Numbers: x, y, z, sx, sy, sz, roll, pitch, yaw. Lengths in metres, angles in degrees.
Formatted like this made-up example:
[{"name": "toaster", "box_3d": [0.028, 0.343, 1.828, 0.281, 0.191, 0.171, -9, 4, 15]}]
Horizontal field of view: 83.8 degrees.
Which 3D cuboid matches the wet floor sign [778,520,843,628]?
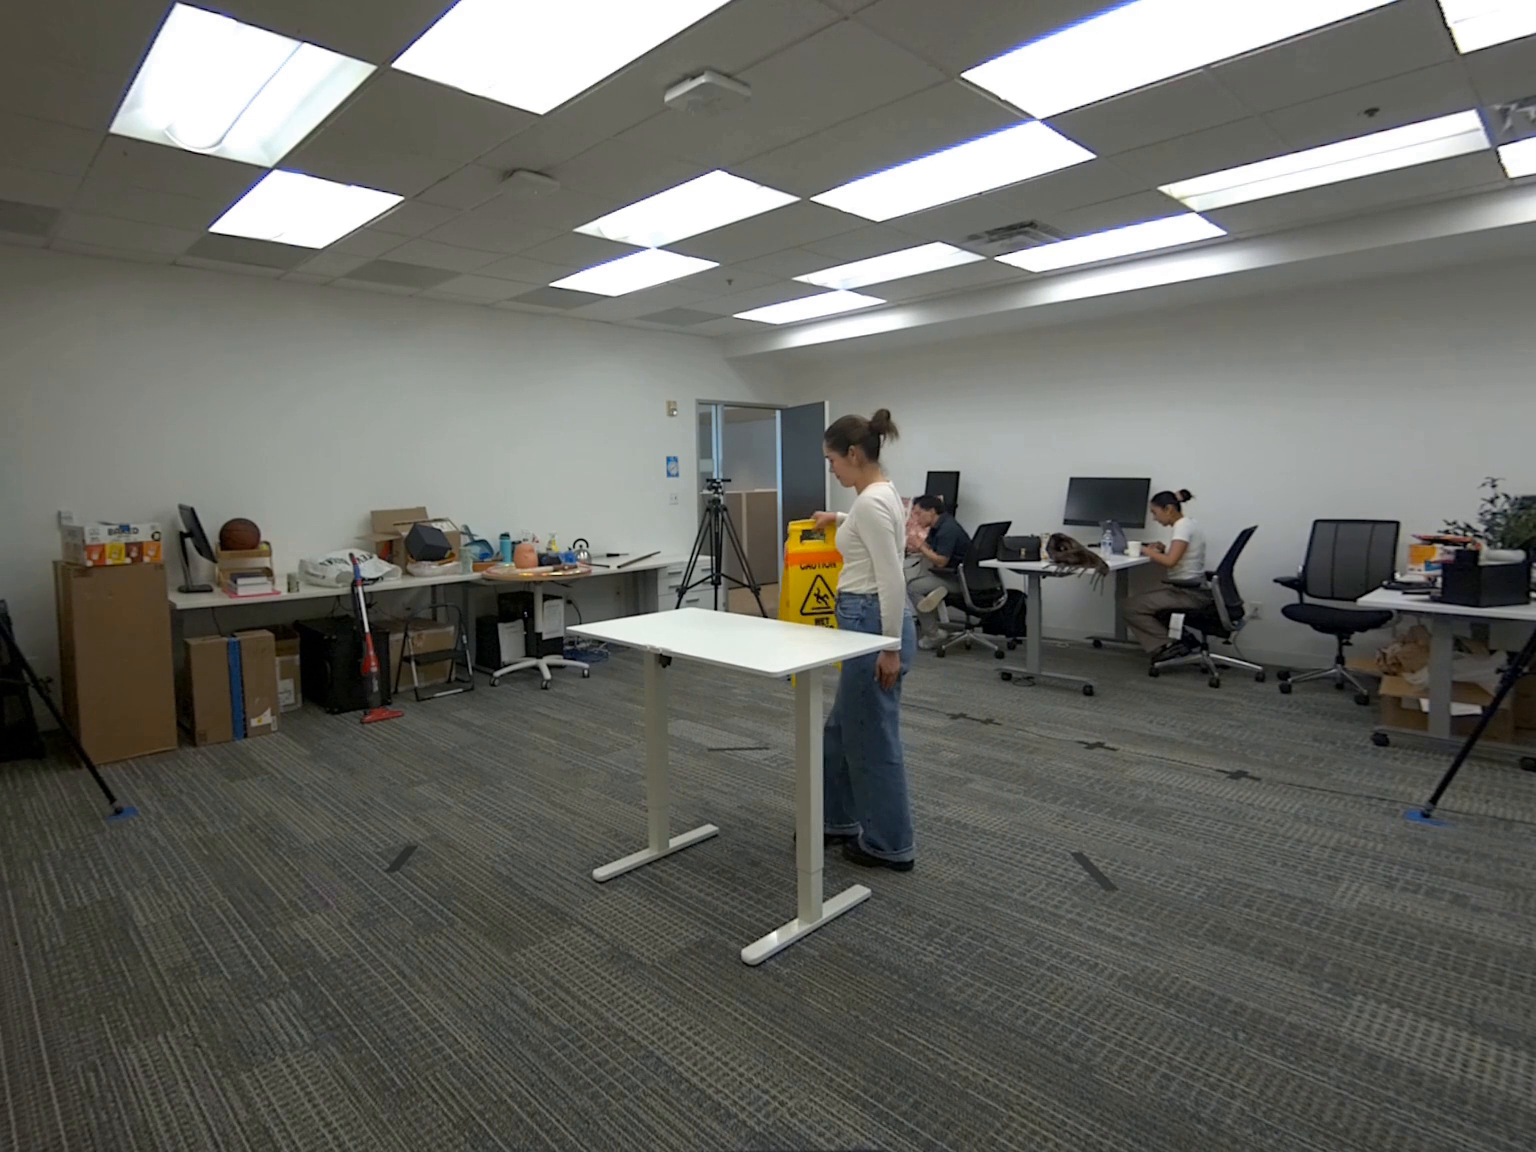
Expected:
[{"name": "wet floor sign", "box_3d": [0.192, 0.093, 3.498, 0.279, 0.641, 0.295, -3, 8, -11]}]
